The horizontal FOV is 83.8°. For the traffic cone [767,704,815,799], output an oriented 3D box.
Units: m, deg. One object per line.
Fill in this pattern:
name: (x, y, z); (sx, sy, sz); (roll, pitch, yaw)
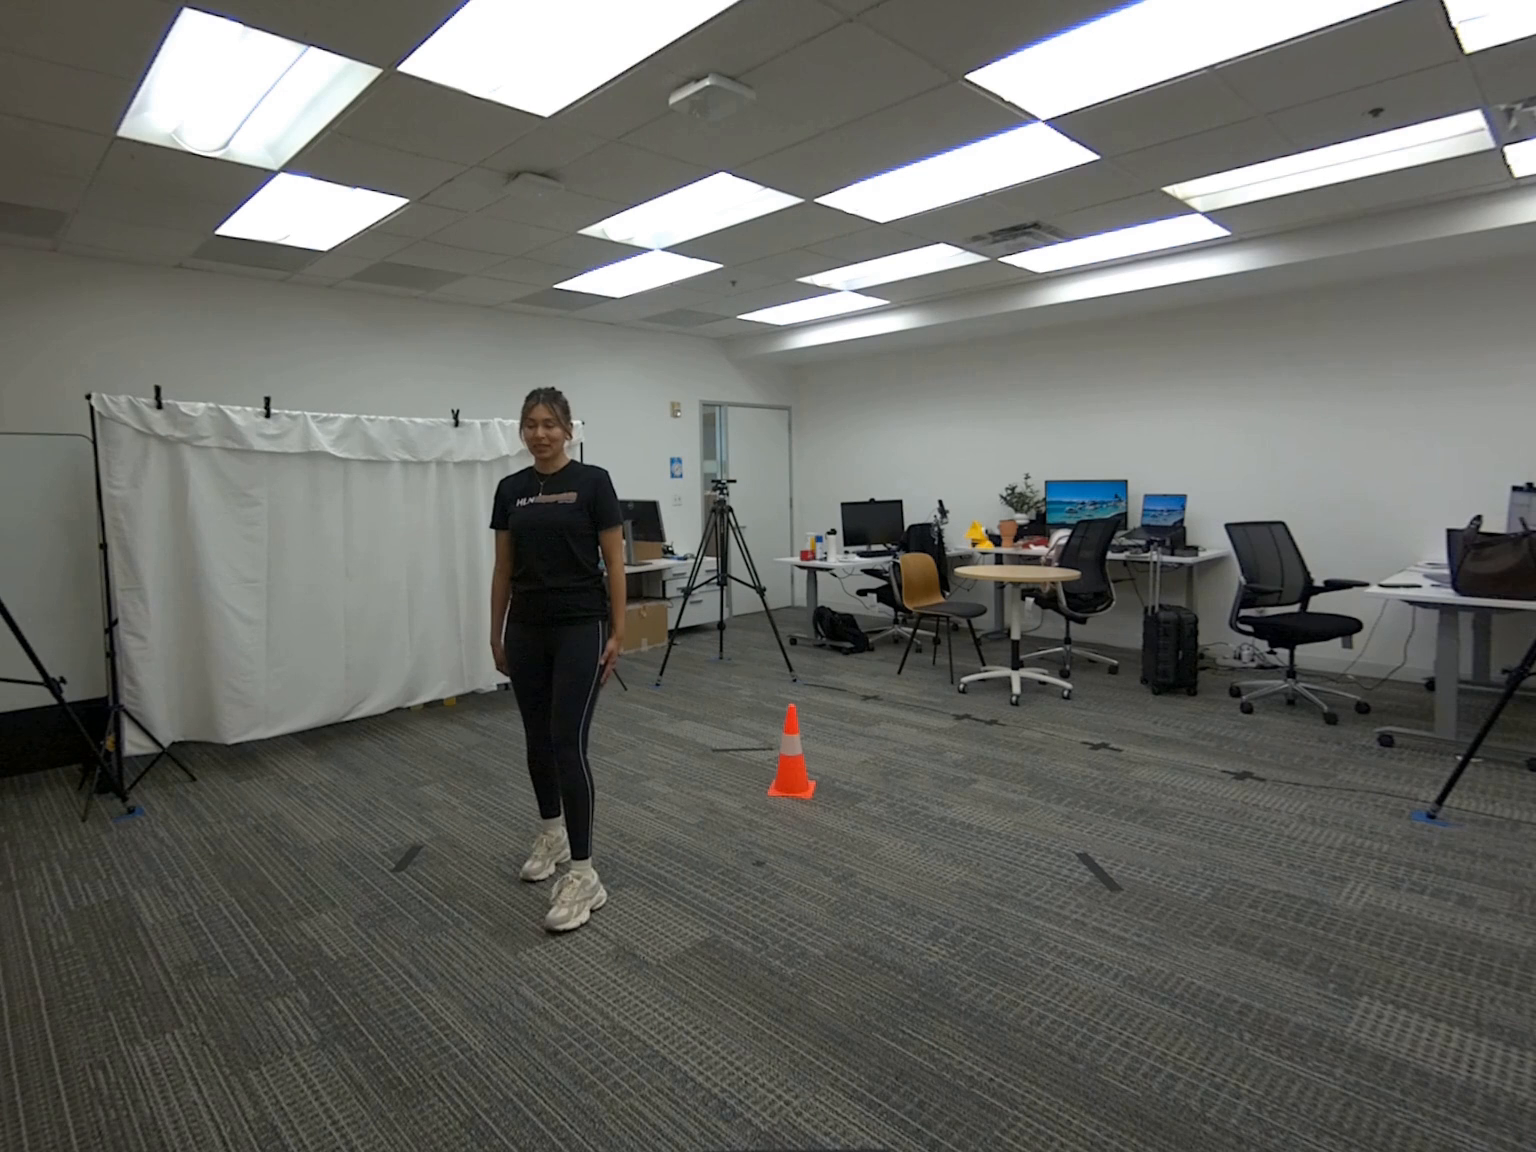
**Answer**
traffic cone: (0.107, 0.777, 3.852); (0.206, 0.382, 0.202); (0, 4, 15)
